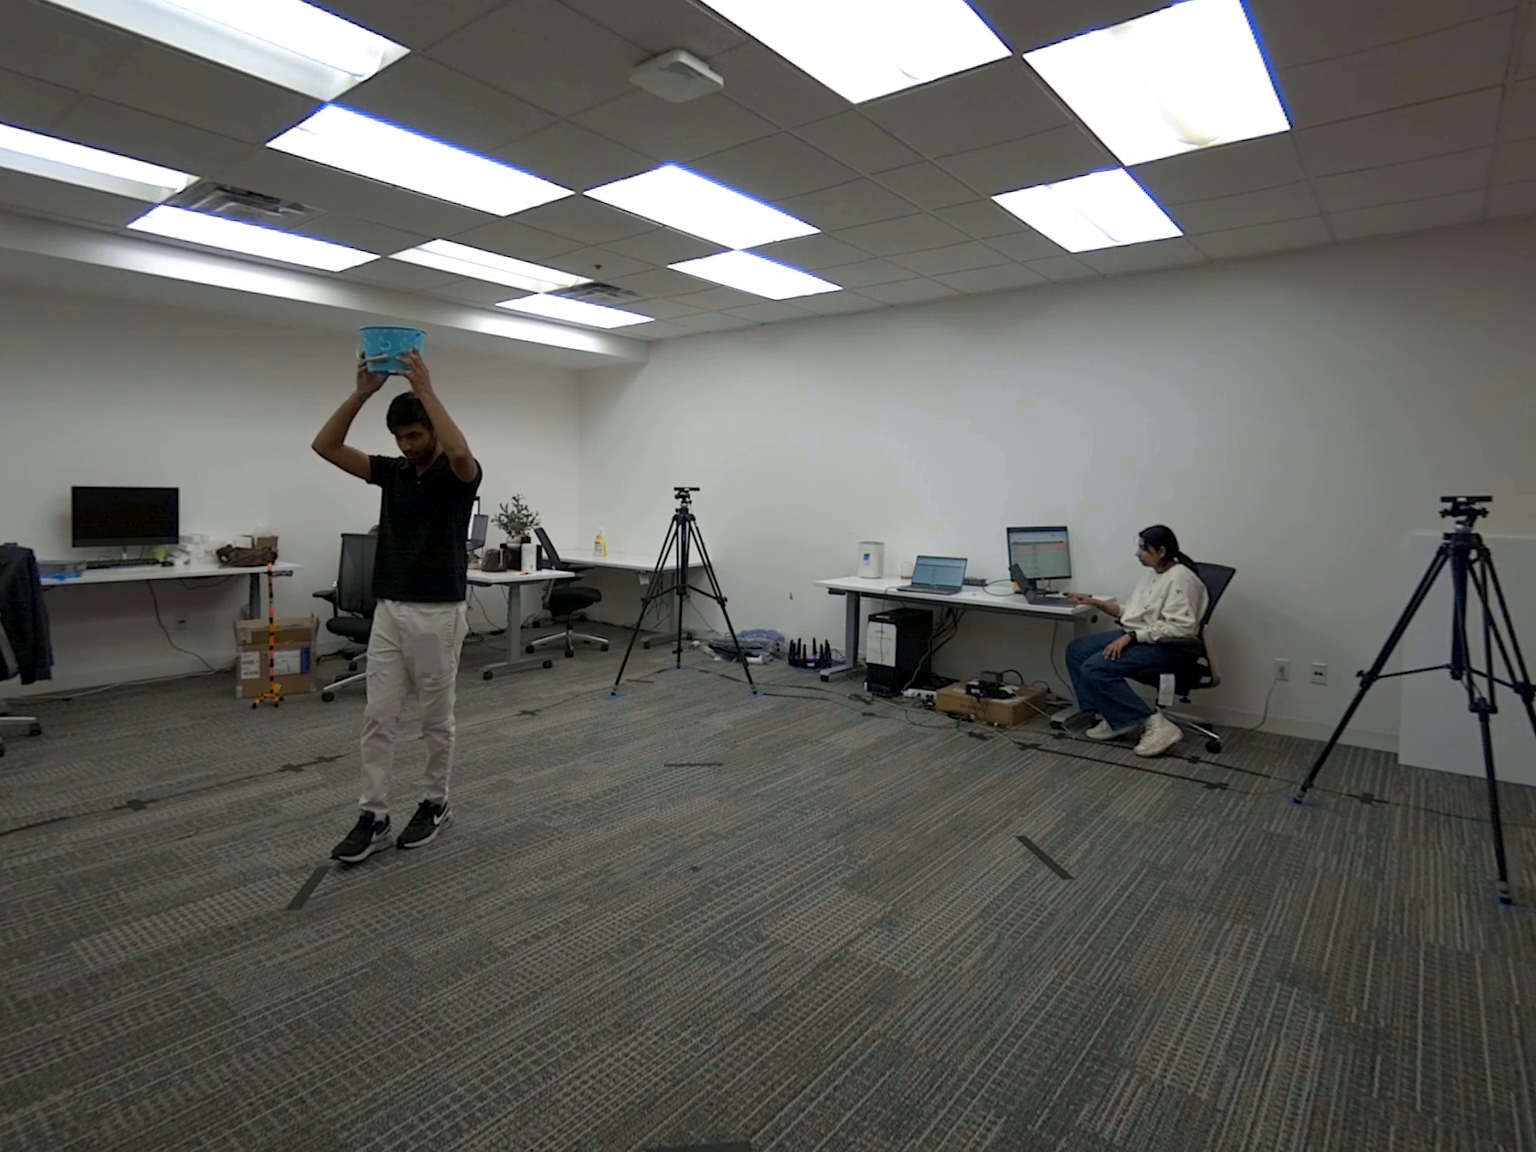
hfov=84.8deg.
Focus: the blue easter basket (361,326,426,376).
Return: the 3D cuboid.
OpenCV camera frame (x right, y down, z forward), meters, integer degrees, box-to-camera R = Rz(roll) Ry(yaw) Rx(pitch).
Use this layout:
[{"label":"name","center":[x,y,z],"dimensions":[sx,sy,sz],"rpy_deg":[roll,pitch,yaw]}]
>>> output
[{"label":"blue easter basket","center":[-1.401,-0.820,3.096],"dimensions":[0.243,0.155,0.245],"rpy_deg":[-2,5,-2]}]
